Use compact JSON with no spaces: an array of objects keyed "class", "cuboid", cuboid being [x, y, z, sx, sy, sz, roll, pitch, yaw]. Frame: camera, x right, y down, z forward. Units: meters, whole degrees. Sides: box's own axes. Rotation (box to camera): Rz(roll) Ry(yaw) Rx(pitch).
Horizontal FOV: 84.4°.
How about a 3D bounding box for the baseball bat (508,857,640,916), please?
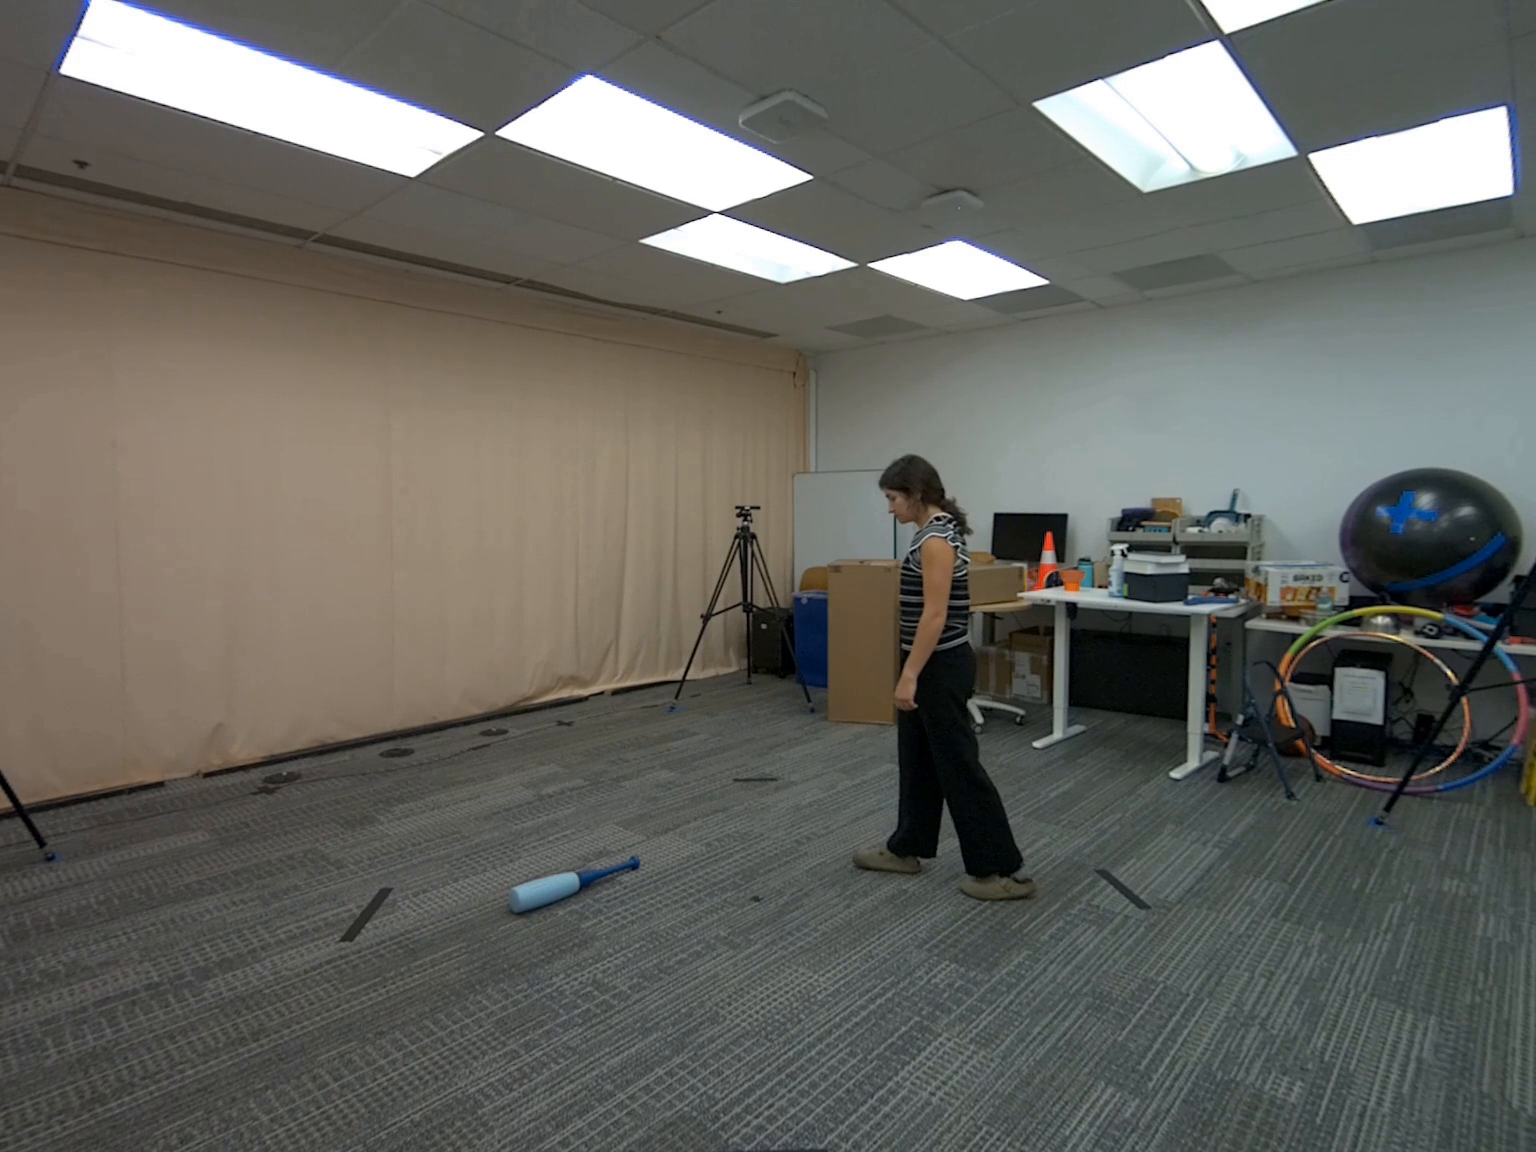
[{"class":"baseball bat","cuboid":[-0.689,1.112,3.063,0.092,0.089,0.525,4,3,44]}]
